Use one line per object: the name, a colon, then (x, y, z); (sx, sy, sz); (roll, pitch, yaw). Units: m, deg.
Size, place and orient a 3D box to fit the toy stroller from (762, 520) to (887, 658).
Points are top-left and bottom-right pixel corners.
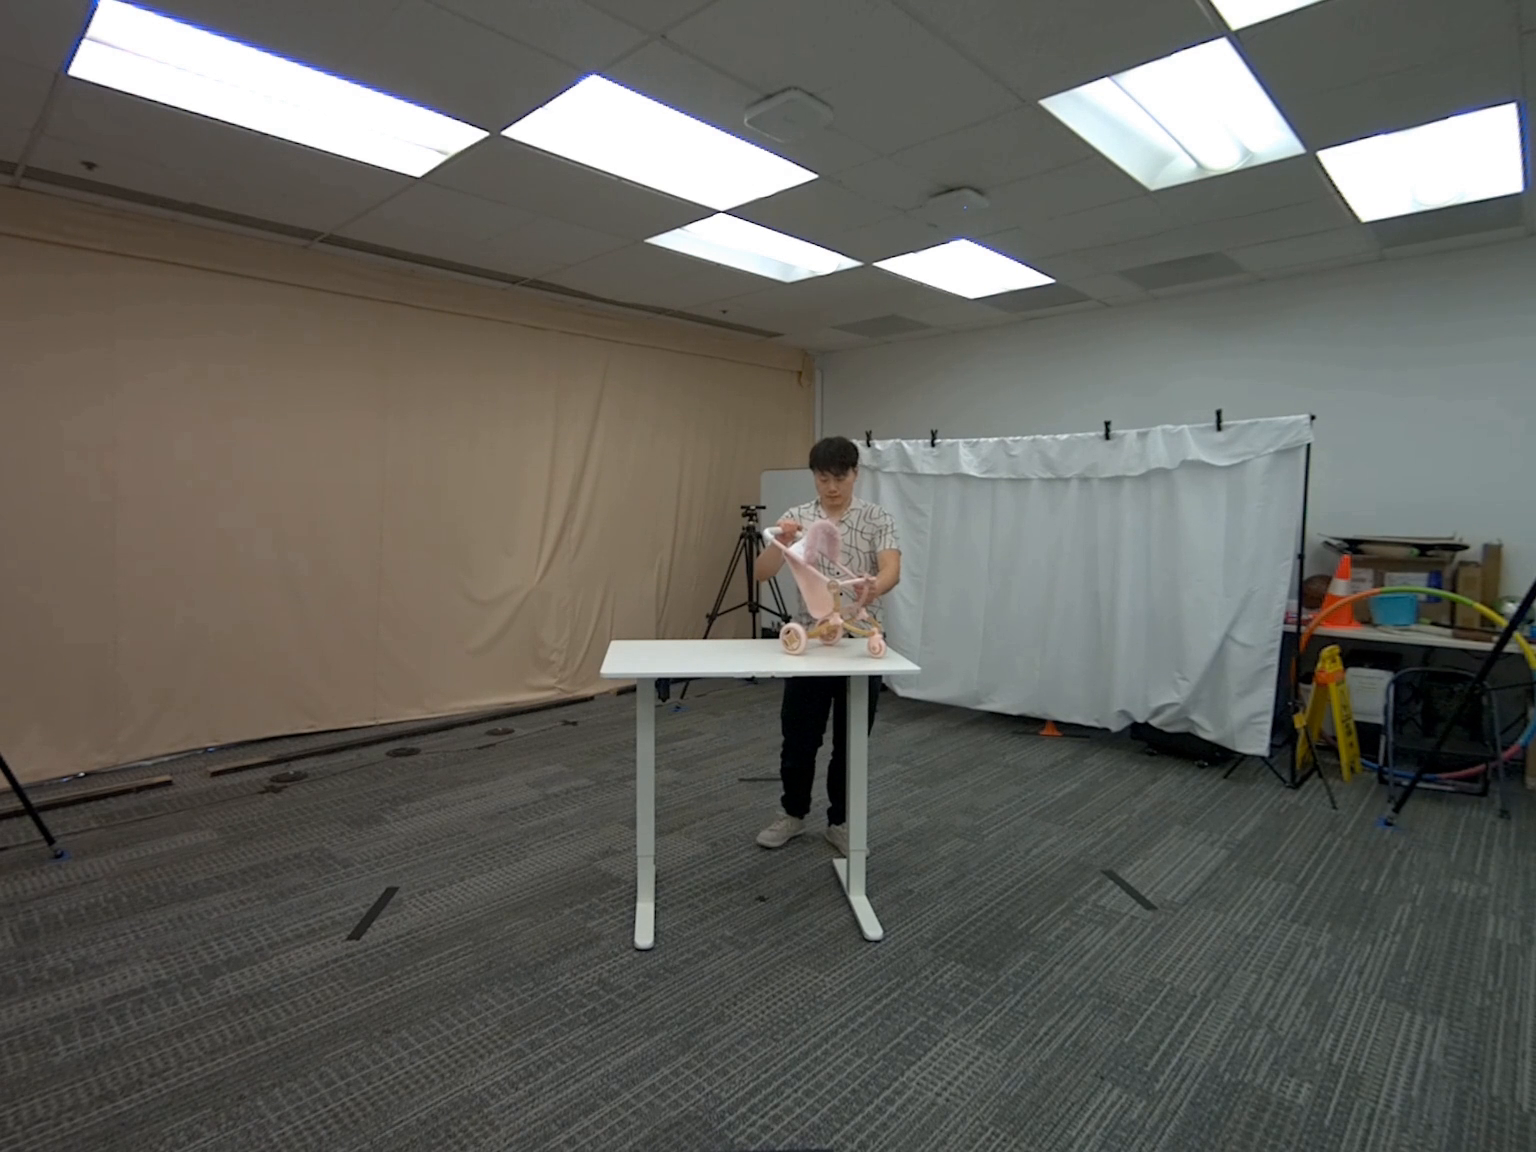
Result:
toy stroller: (0.204, 0.043, 2.930); (0.350, 0.538, 0.273); (-18, -9, 40)
